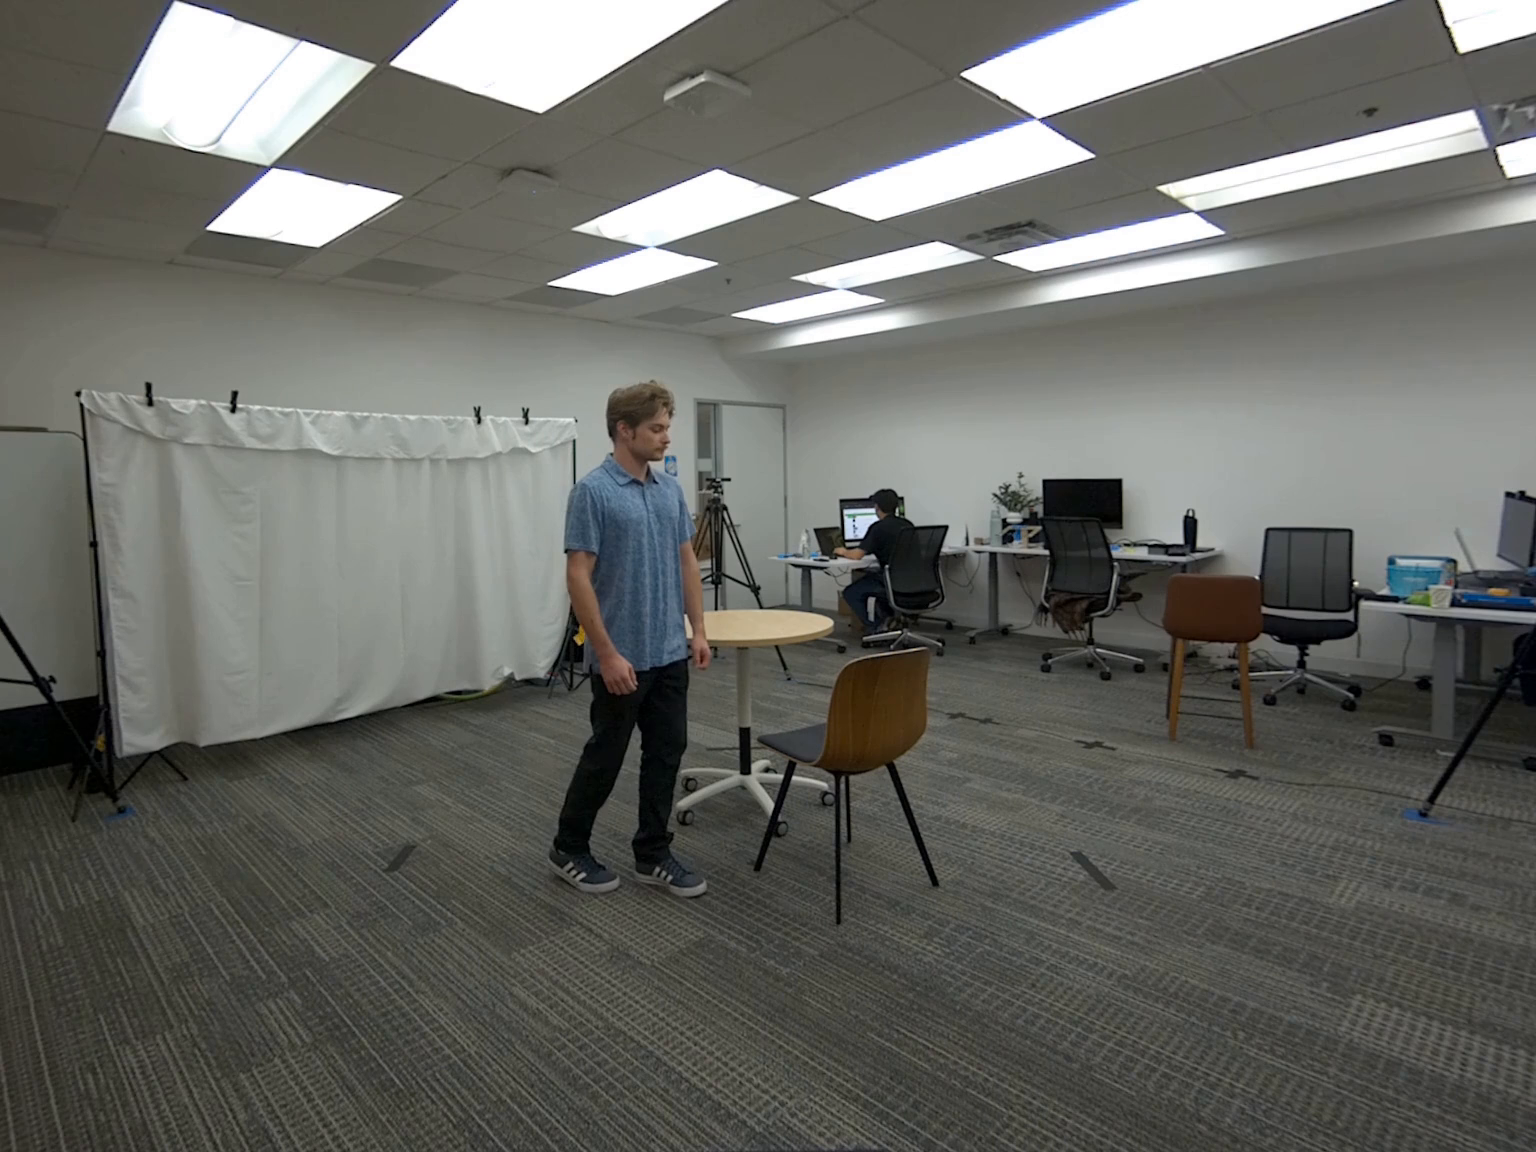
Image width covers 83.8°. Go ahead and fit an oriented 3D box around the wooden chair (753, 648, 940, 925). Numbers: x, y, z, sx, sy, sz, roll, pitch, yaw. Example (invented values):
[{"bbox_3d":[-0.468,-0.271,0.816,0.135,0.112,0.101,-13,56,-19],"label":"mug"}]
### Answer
[{"bbox_3d":[0.253,0.625,2.943,0.466,0.871,0.540,-4,10,-35],"label":"wooden chair"}]
